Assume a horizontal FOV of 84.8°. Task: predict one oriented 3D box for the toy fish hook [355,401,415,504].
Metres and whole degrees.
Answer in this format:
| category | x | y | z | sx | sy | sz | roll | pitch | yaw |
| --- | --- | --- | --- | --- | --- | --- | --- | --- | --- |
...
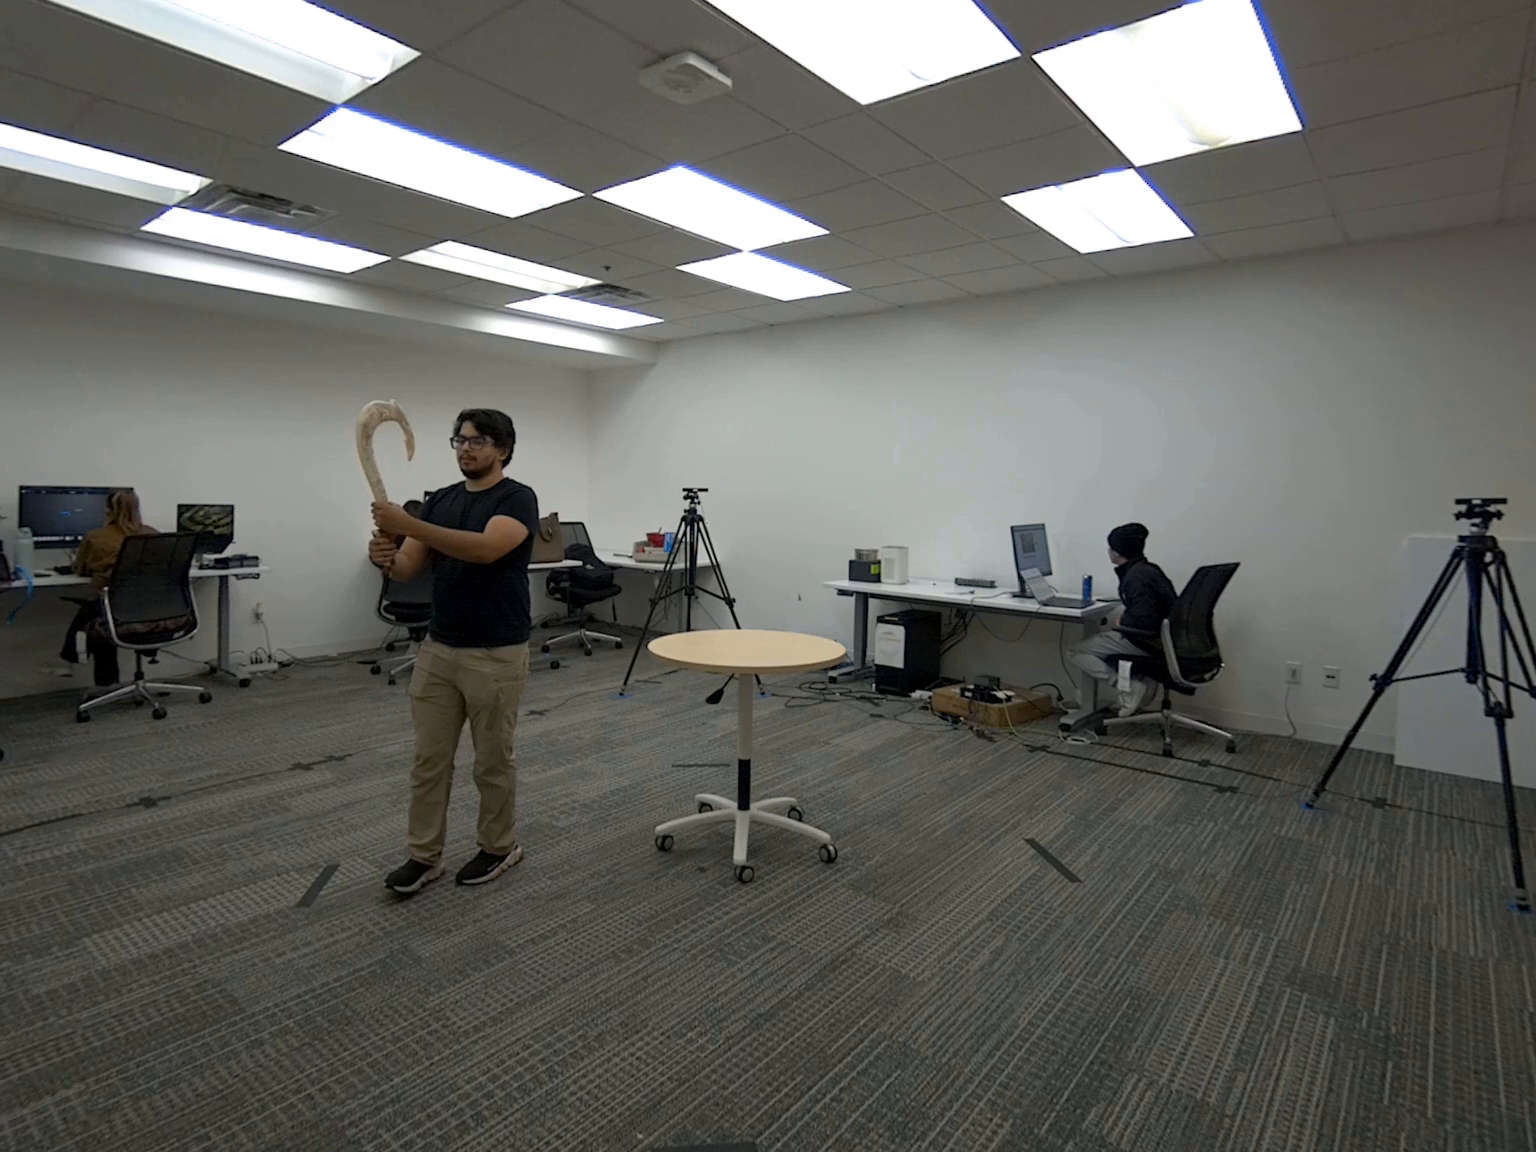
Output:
| category | x | y | z | sx | sy | sz | roll | pitch | yaw |
| --- | --- | --- | --- | --- | --- | --- | --- | --- | --- |
| toy fish hook | -1.197 | -0.292 | 2.644 | 0.049 | 0.501 | 0.221 | 9 | 14 | 22 |
